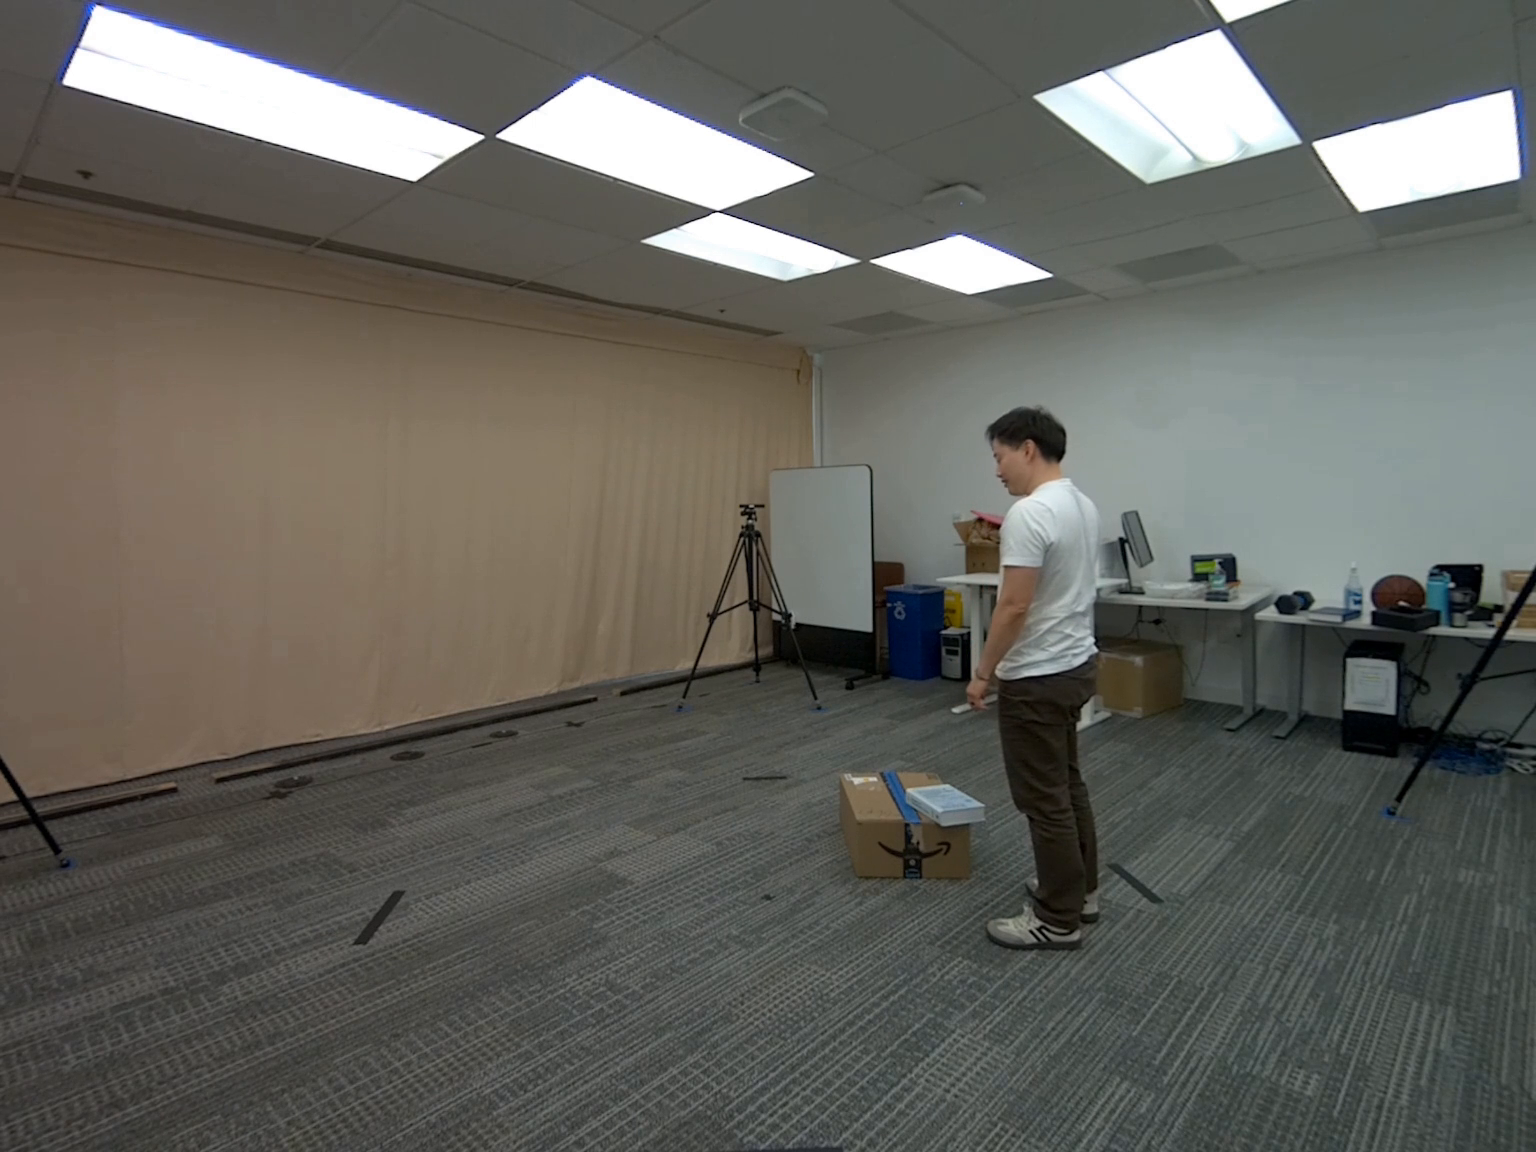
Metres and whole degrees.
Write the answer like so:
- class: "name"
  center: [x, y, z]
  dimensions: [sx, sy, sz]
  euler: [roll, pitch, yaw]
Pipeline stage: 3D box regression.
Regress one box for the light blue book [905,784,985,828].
- class: "light blue book"
  center: [0.678, 0.869, 3.192]
  dimensions: [0.188, 0.059, 0.266]
  euler: [-2, 4, -18]
